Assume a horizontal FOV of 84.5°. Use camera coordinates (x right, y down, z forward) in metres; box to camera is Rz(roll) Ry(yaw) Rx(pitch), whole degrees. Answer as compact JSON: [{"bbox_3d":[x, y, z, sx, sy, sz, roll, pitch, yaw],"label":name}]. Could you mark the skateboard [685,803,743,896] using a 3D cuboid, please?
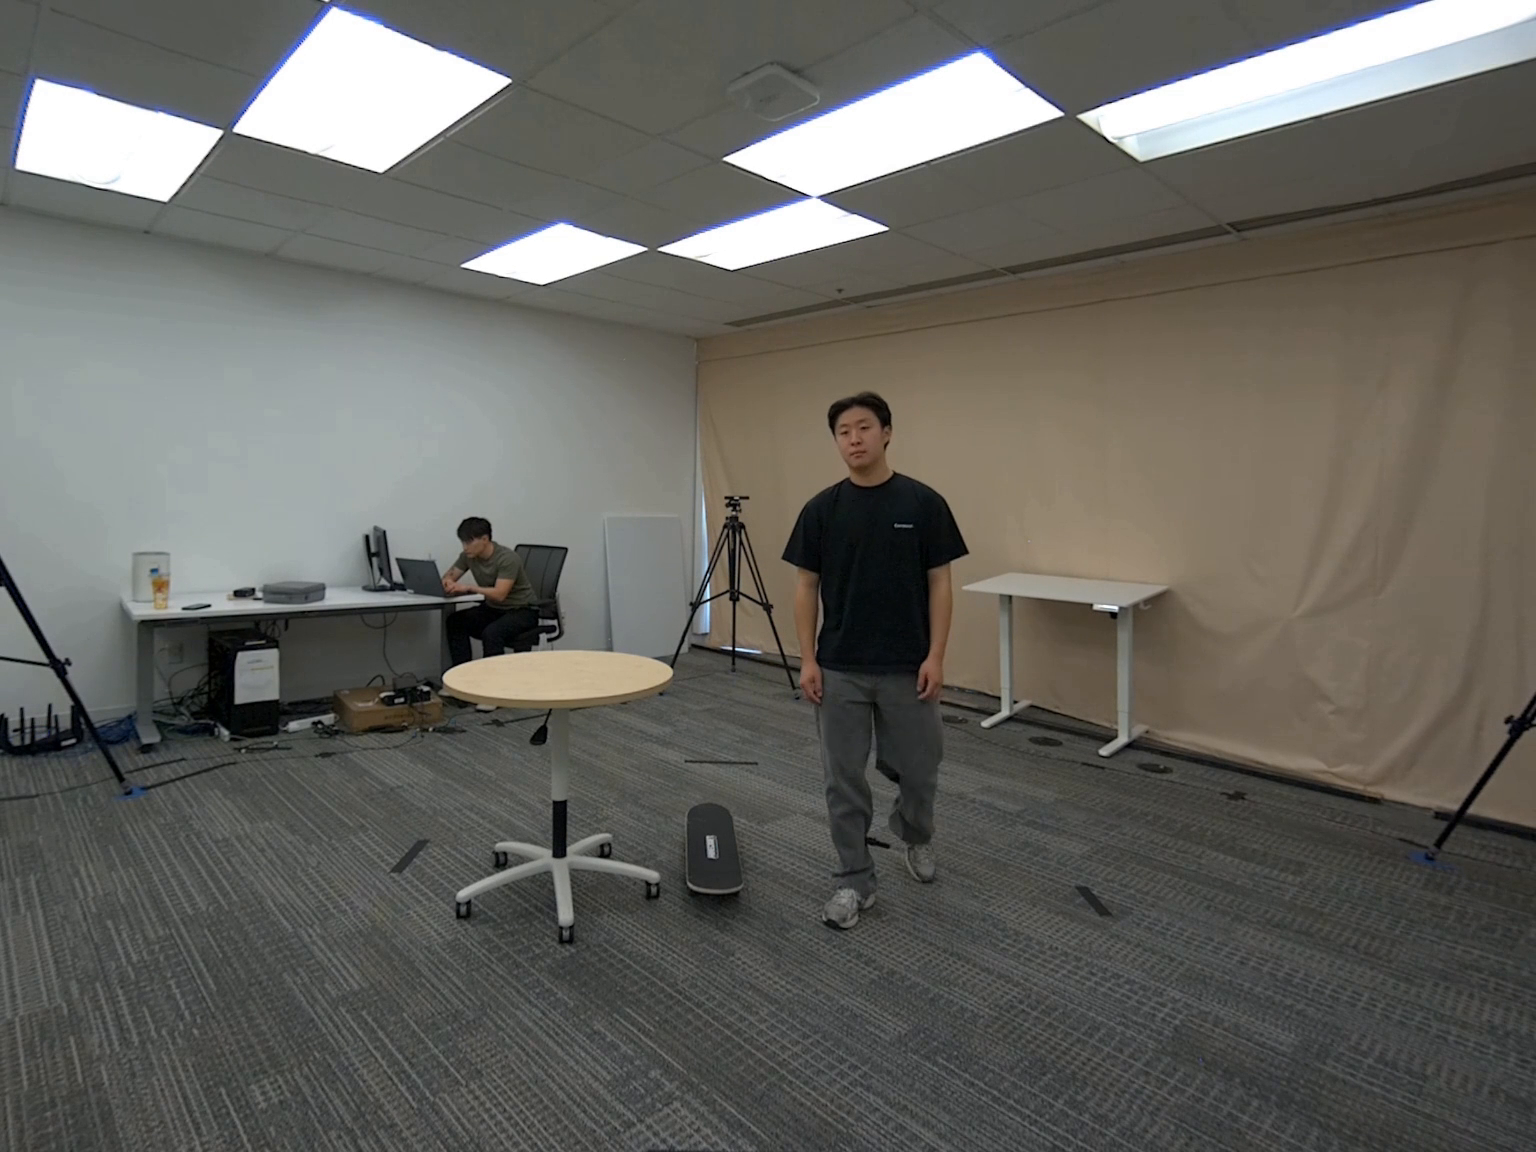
[{"bbox_3d":[-0.218,1.042,3.146,0.192,0.110,0.791,0,5,-6],"label":"skateboard"}]
